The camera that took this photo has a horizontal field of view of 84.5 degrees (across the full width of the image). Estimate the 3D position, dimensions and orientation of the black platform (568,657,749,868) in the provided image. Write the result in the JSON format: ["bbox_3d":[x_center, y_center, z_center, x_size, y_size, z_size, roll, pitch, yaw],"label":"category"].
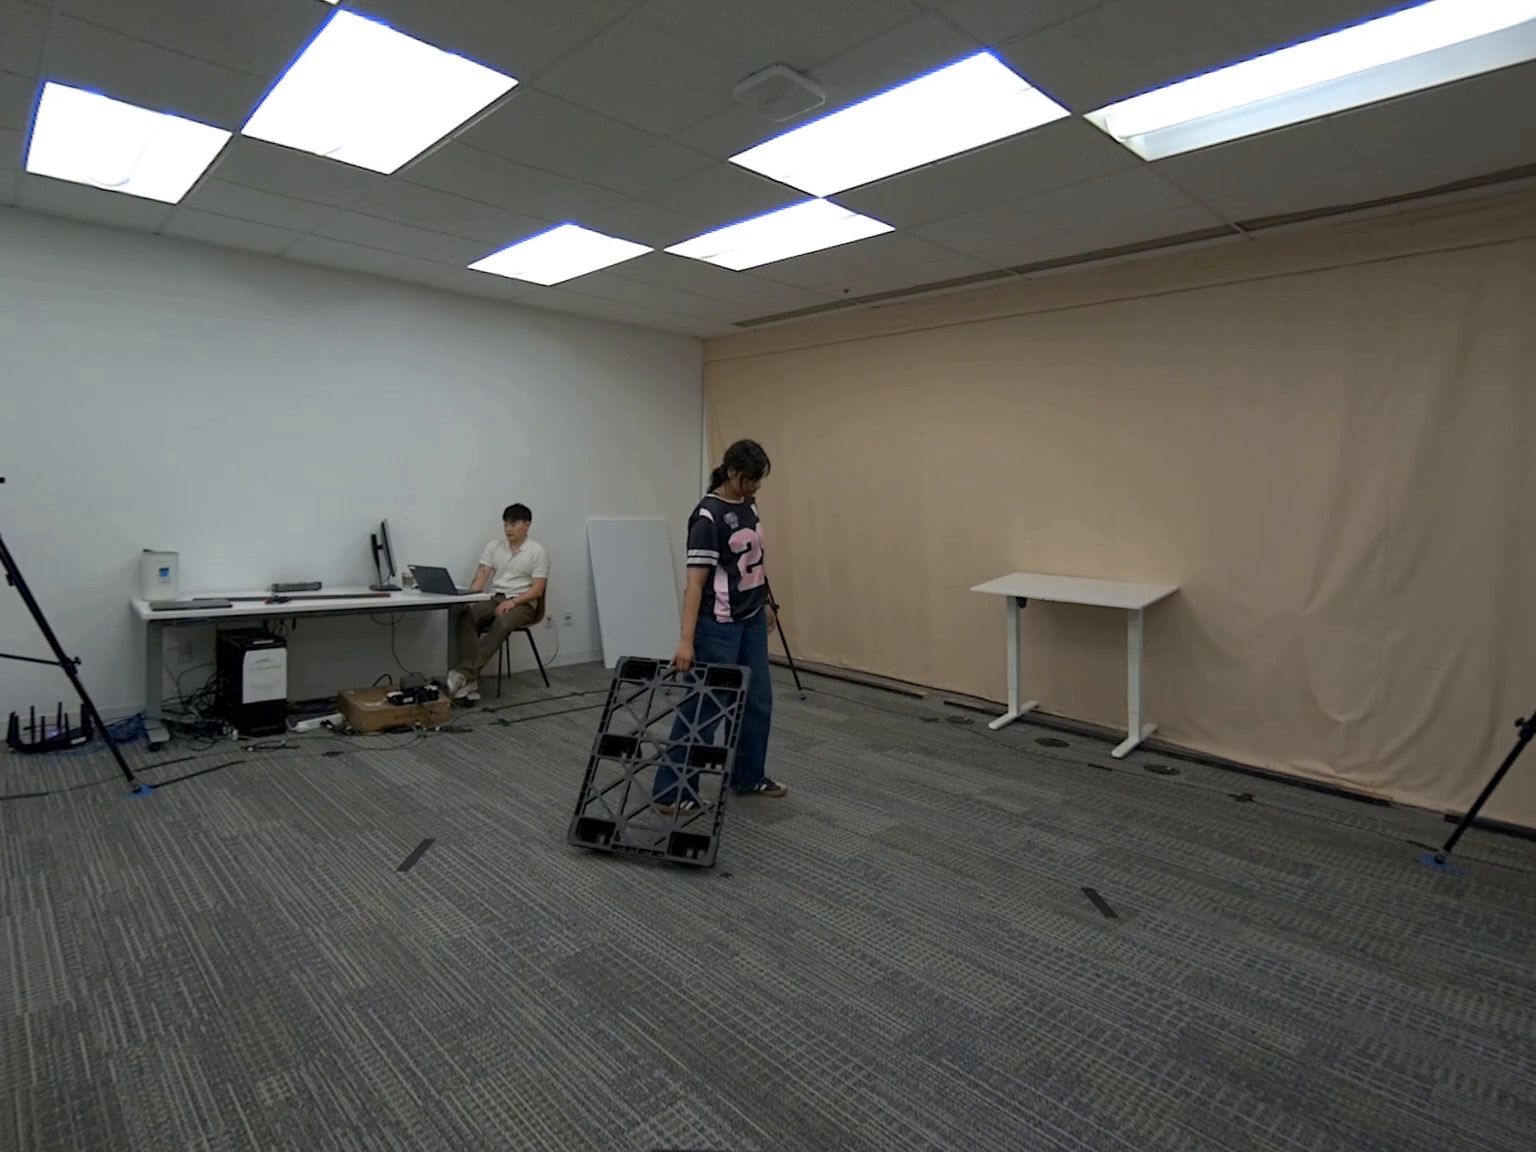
[{"bbox_3d":[-0.421,0.737,3.400,0.614,0.817,0.139,2,-31,17],"label":"black platform"}]
